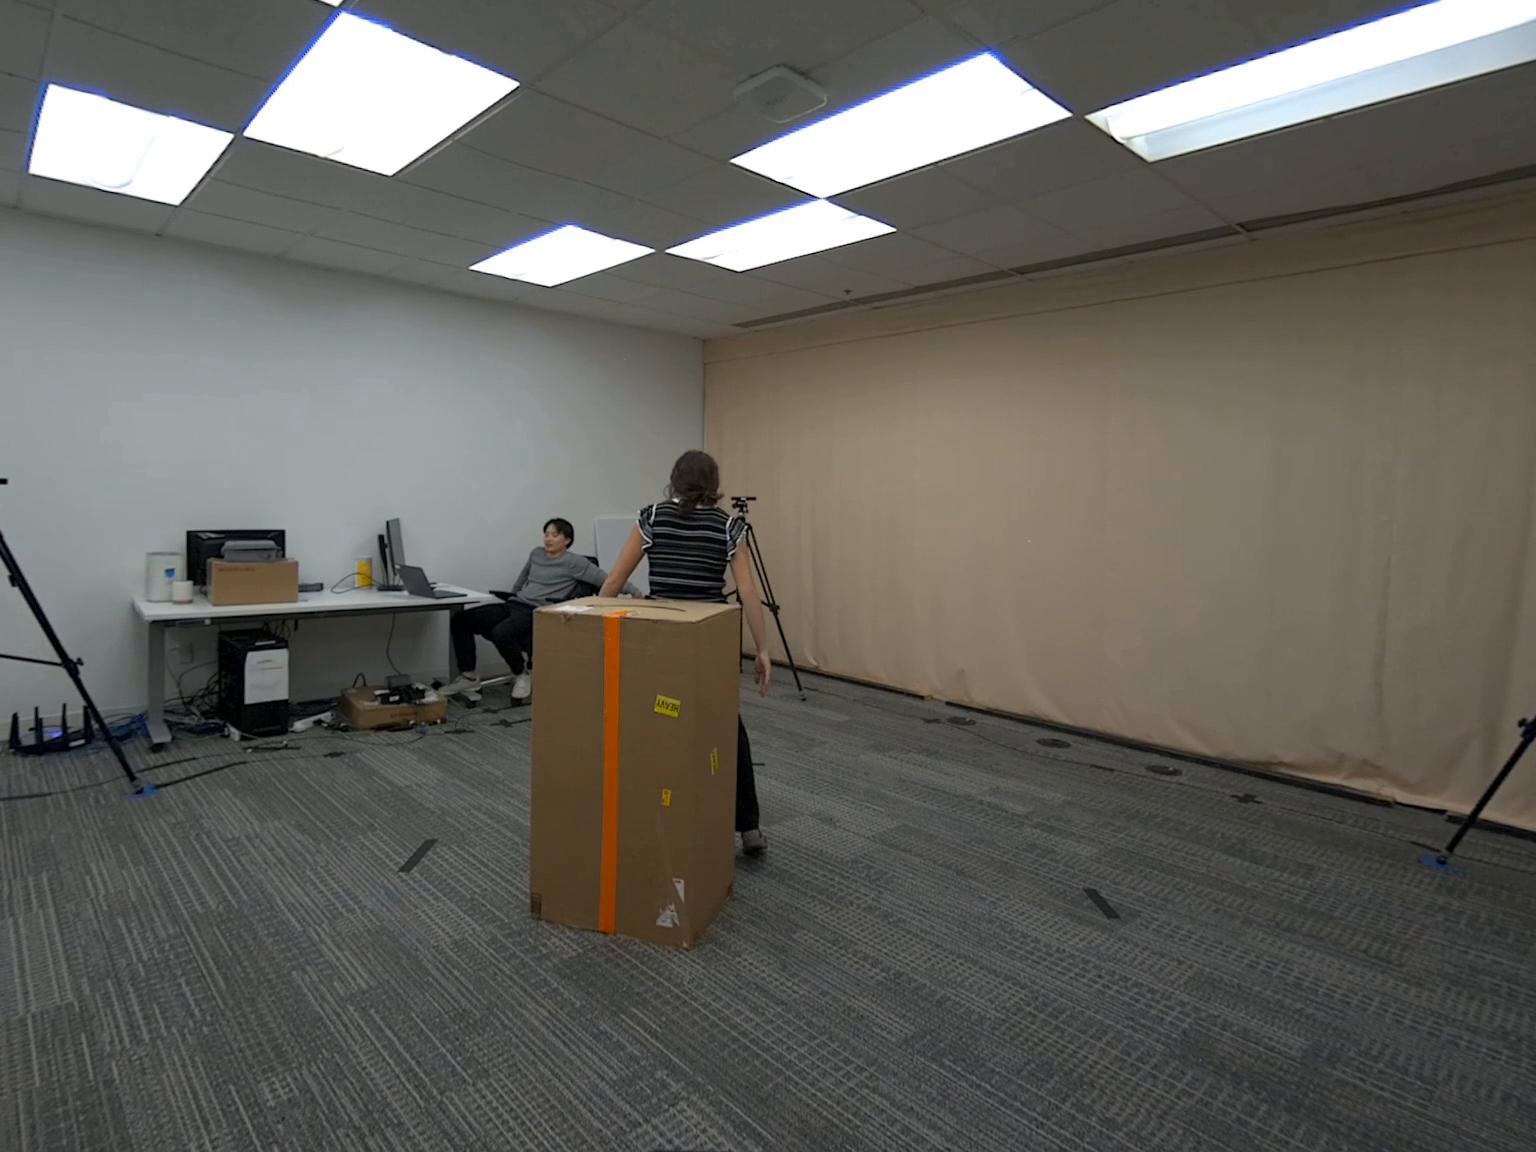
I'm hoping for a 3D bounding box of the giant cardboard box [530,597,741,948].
[{"bbox_3d":[-0.443,0.613,2.847,0.586,1.023,0.421,3,3,18],"label":"giant cardboard box"}]
